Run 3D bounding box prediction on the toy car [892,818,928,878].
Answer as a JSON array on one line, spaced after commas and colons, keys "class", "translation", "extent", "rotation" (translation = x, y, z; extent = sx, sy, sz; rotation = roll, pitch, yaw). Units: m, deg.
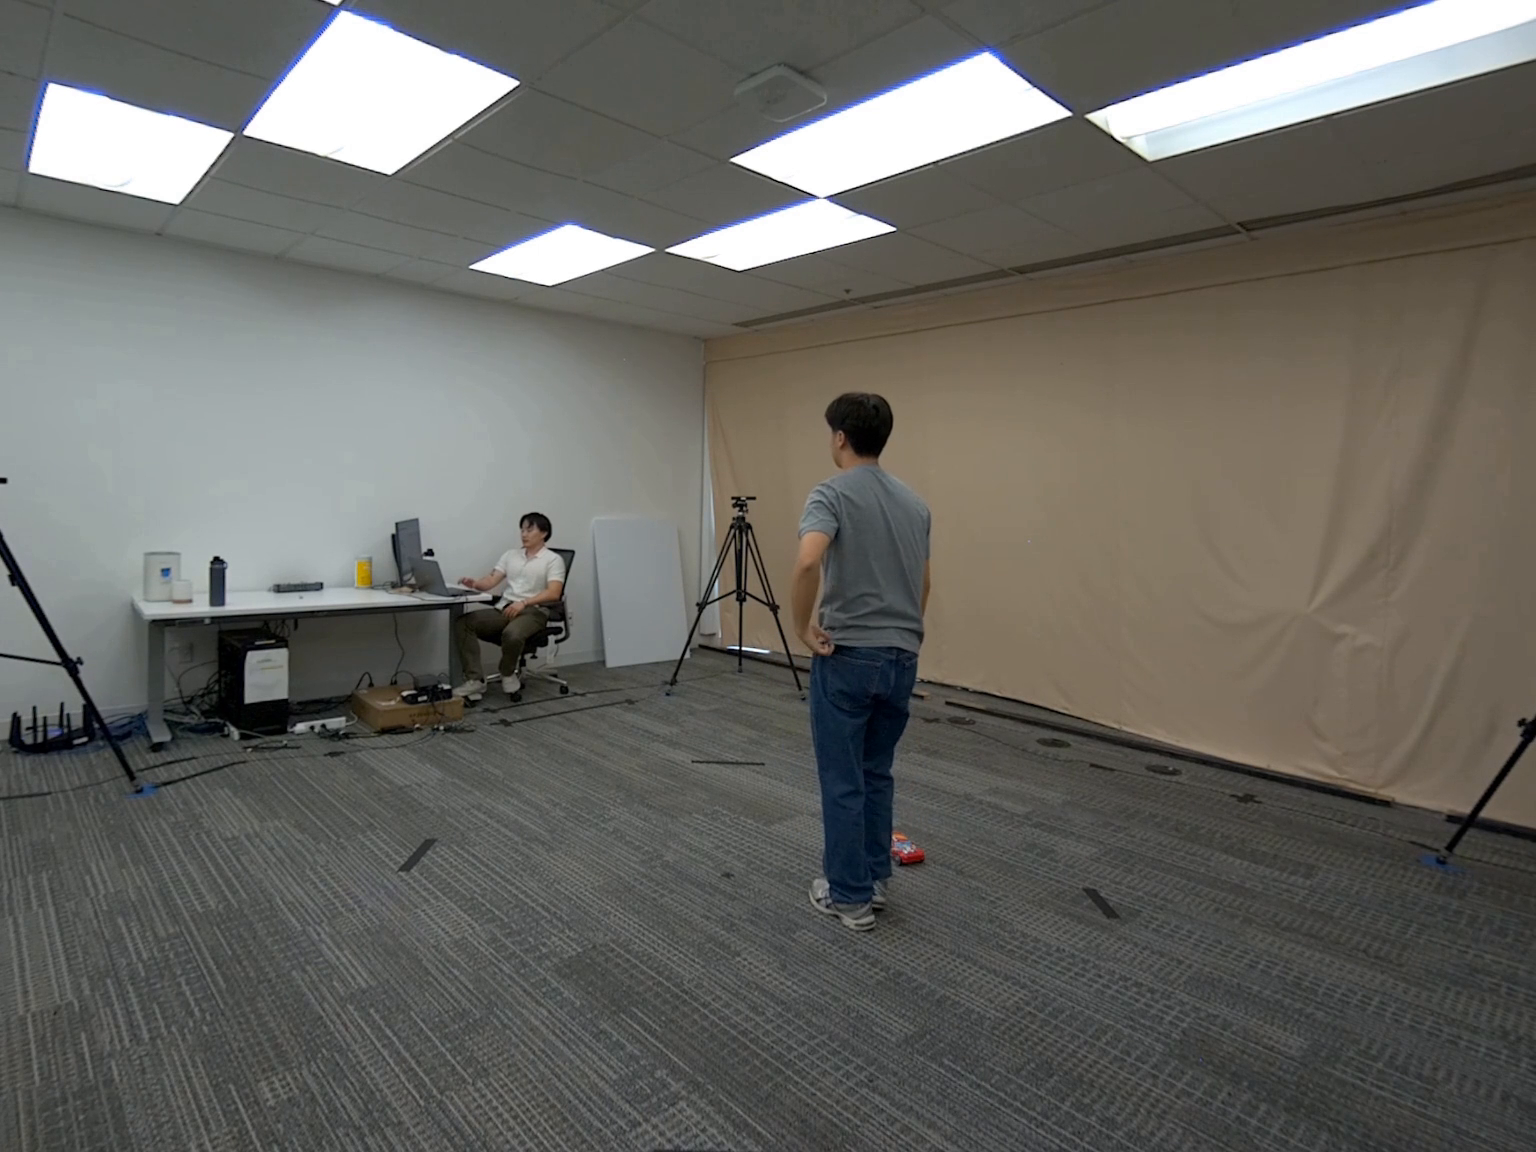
[{"class": "toy car", "translation": [0.499, 1.068, 3.344], "extent": [0.128, 0.082, 0.261], "rotation": [1, 16, -22]}]
